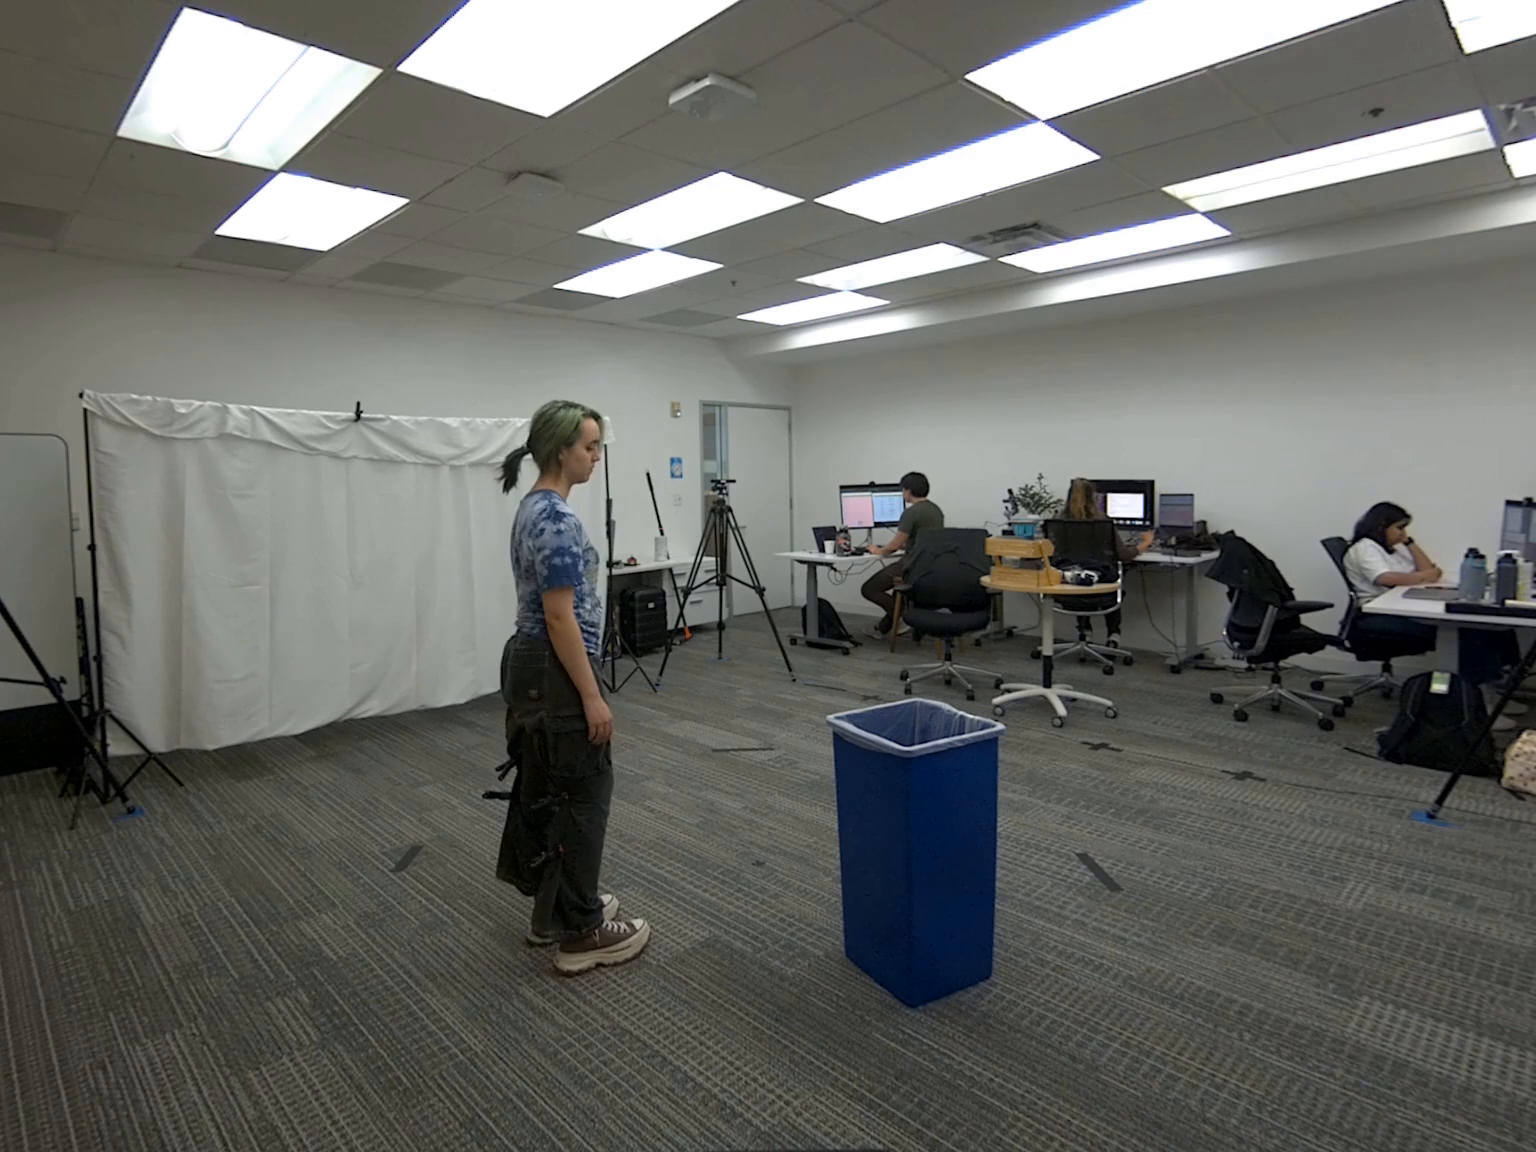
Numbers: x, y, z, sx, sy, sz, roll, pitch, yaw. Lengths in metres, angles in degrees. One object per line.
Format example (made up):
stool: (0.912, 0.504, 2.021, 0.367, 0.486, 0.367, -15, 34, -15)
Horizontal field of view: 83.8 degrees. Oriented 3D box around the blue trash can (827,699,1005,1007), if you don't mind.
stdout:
blue trash can: (0.416, 0.759, 2.409, 0.365, 0.711, 0.388, -4, 5, -31)
